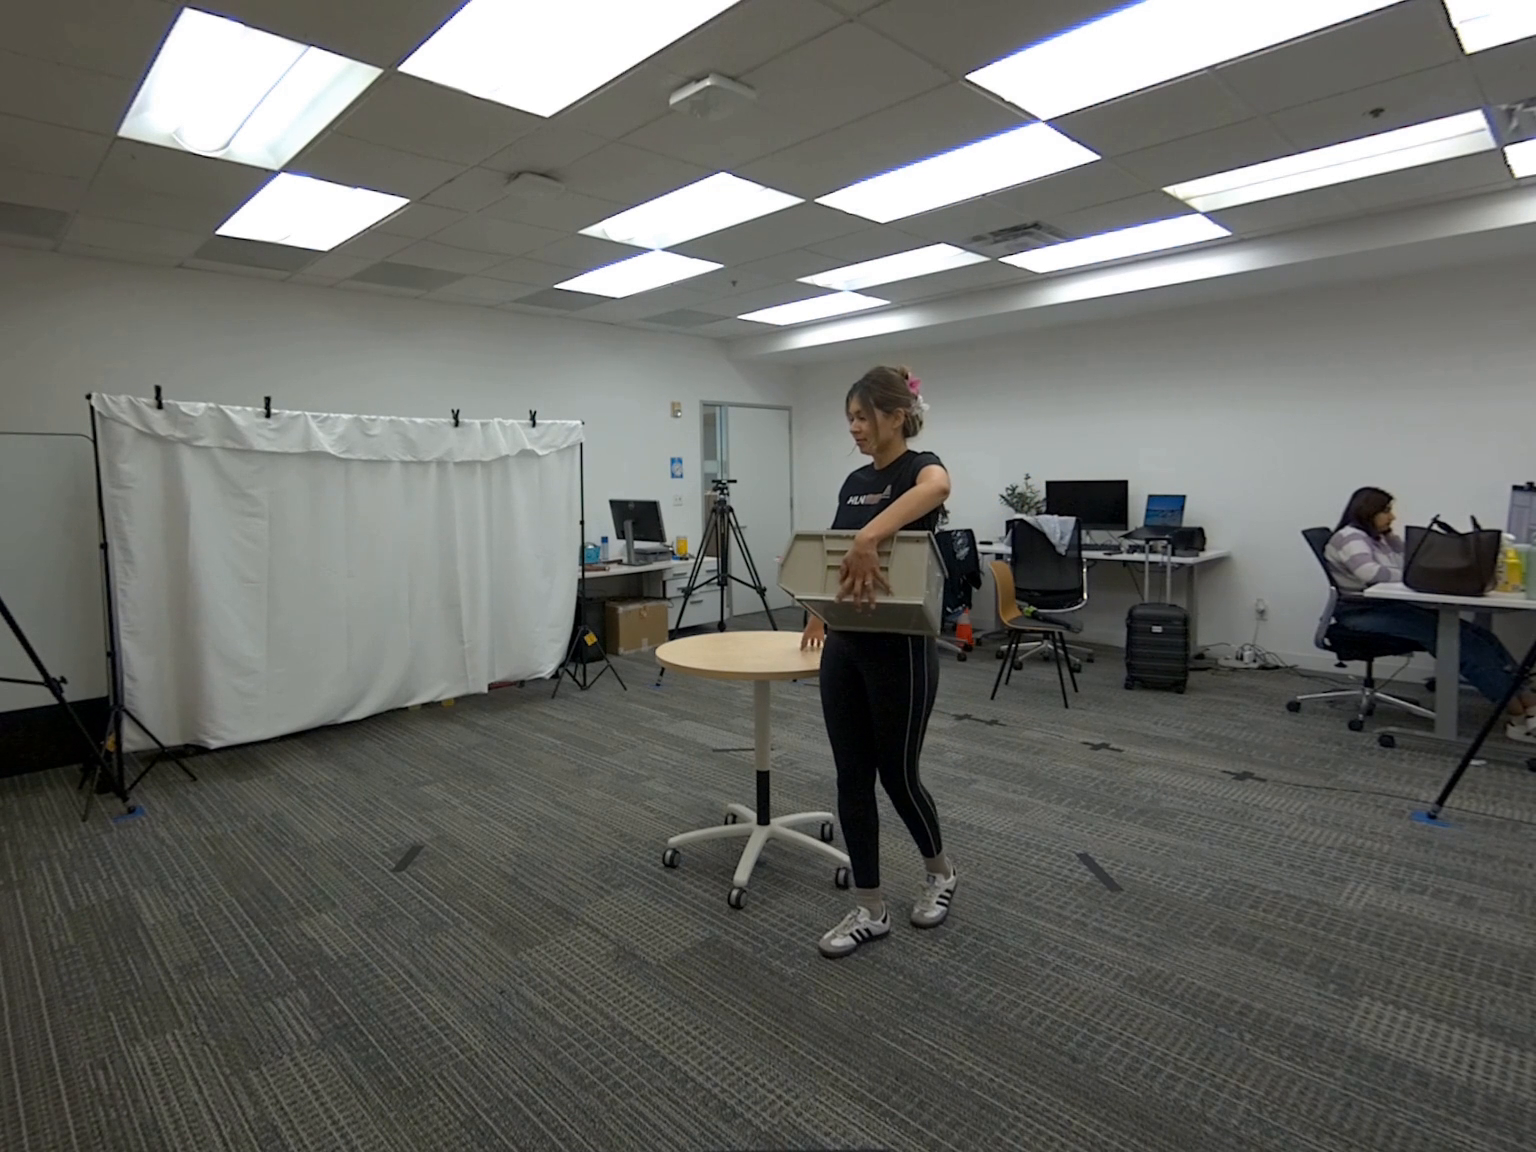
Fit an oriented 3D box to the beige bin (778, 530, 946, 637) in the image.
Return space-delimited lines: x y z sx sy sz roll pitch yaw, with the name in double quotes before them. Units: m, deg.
"beige bin" 0.266 0.029 2.280 0.384 0.191 0.410 3 -14 19
